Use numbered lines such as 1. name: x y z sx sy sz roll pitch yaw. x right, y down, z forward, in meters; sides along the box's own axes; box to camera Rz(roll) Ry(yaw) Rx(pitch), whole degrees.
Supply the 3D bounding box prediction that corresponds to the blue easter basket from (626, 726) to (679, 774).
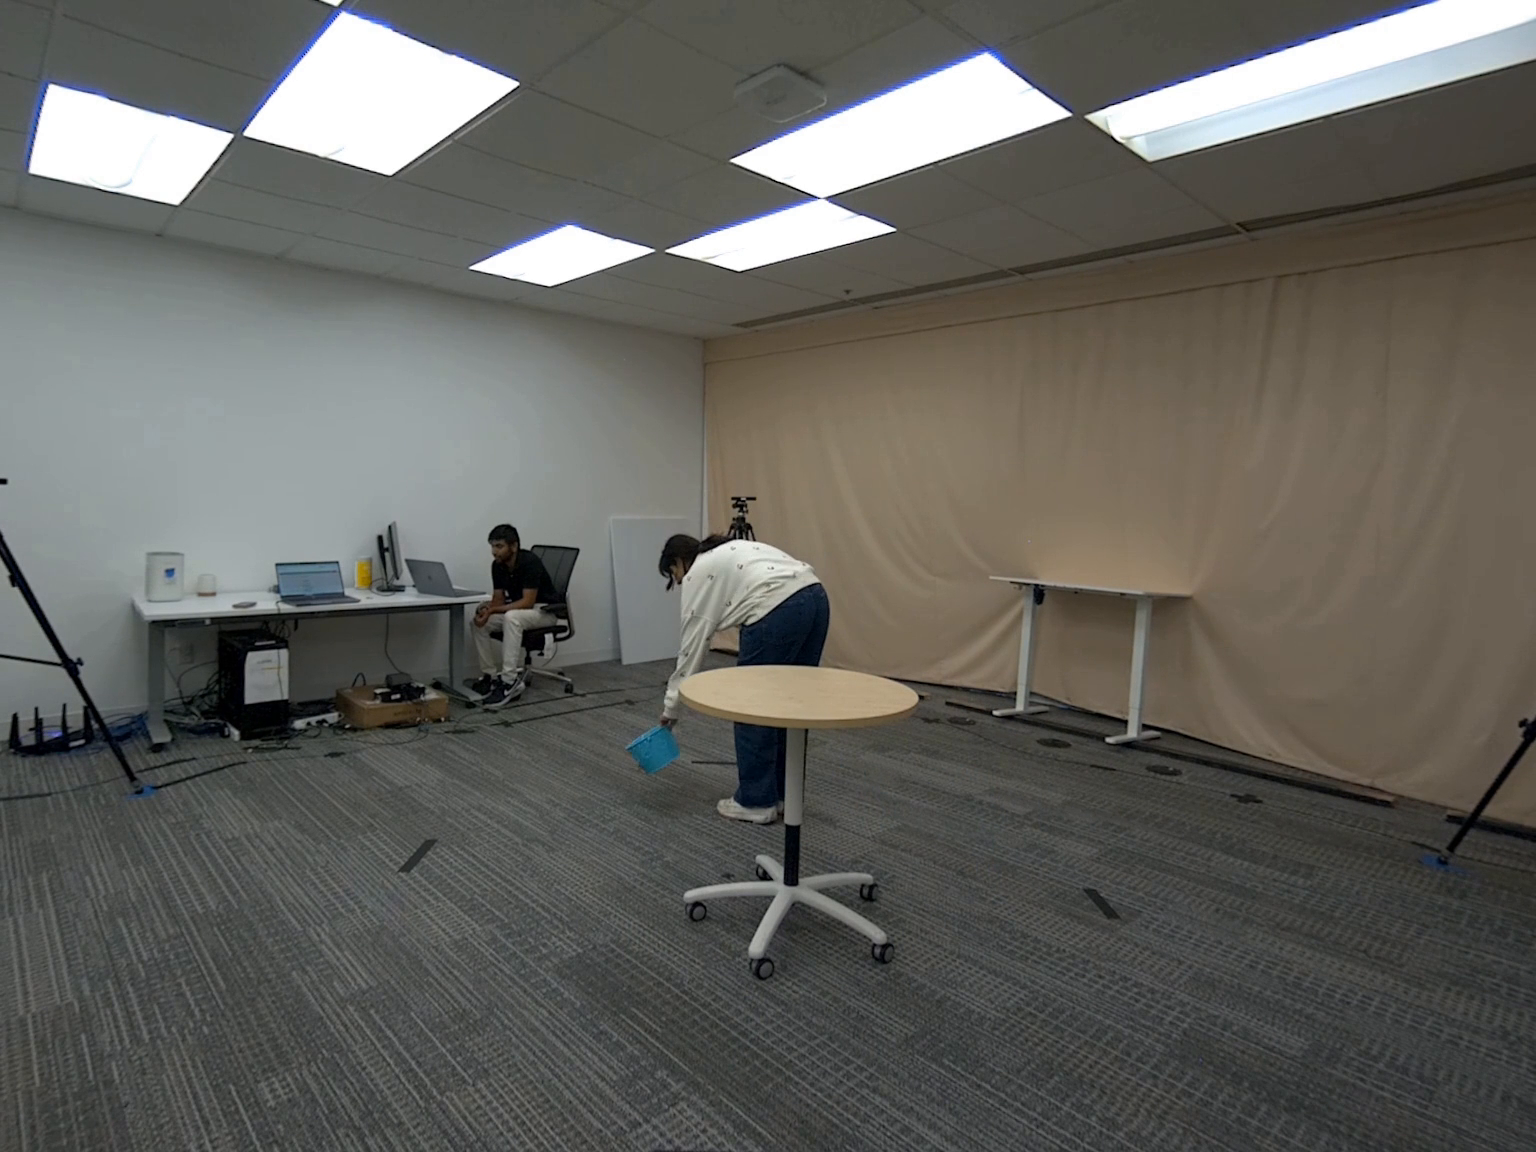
1. blue easter basket: -0.511 0.784 3.839 0.243 0.156 0.243 -29 -2 -3
